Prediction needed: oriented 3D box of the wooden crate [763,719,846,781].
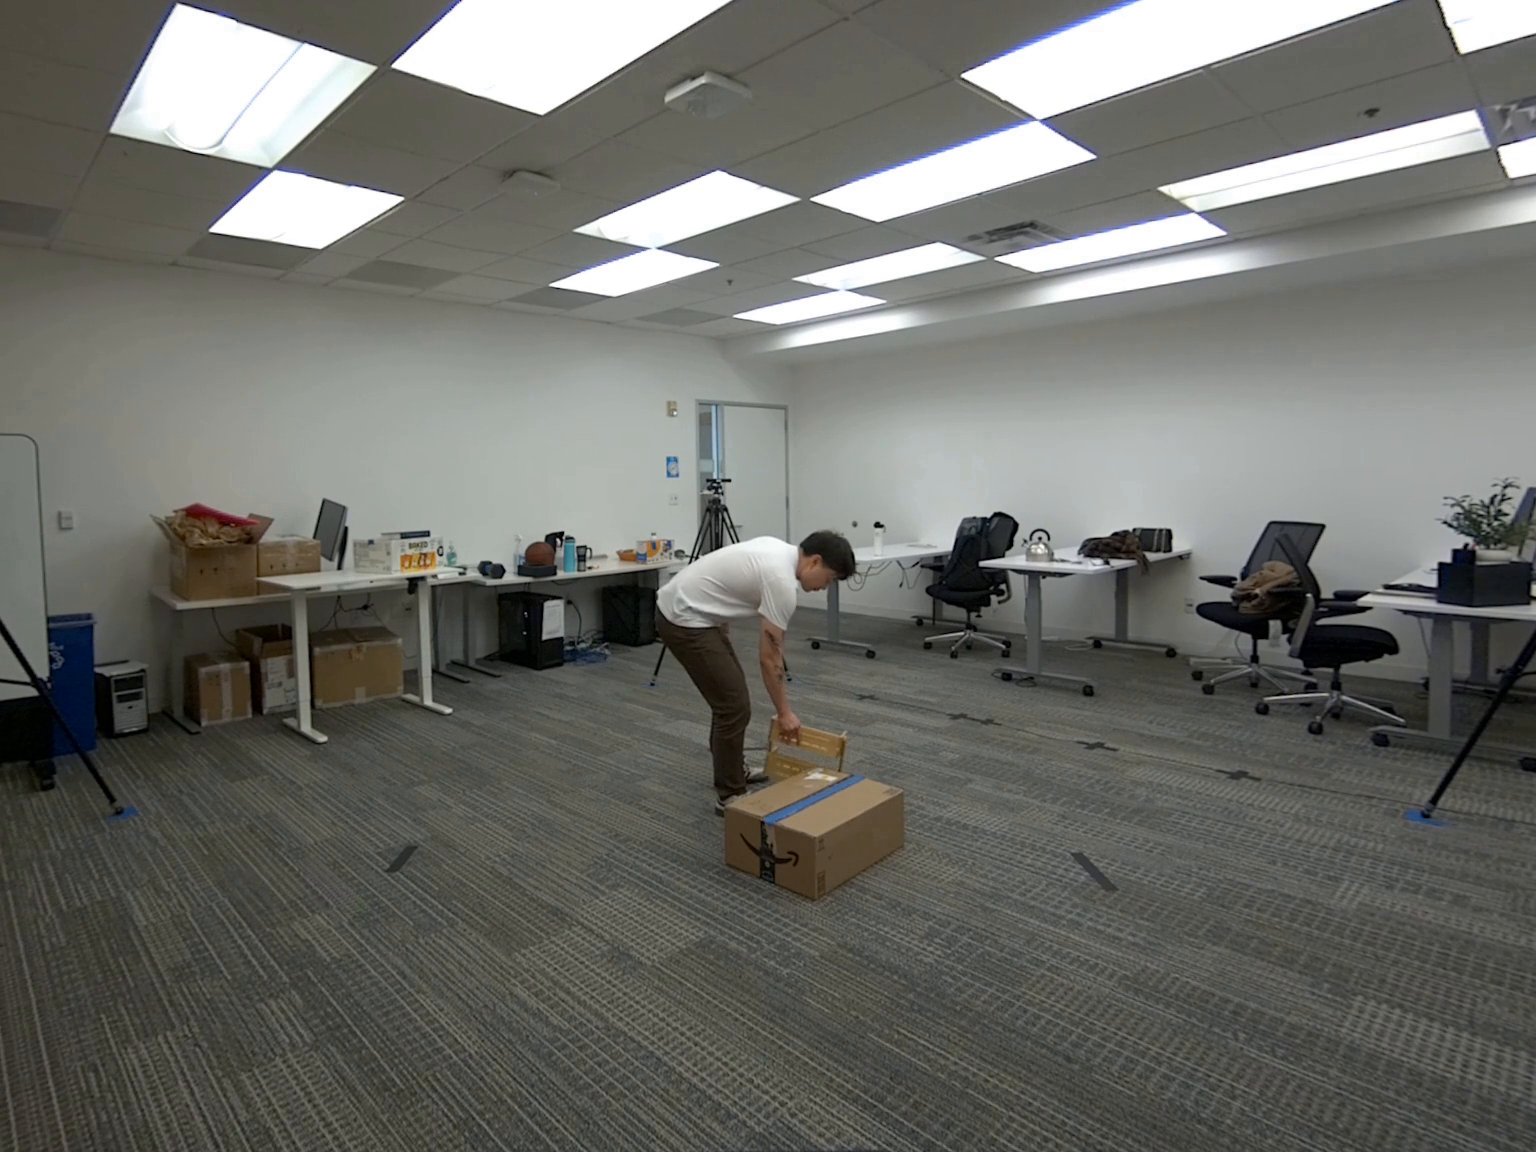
[{"bbox_3d":[0.169,0.744,3.701,0.329,0.273,0.298,10,3,13],"label":"wooden crate"}]
